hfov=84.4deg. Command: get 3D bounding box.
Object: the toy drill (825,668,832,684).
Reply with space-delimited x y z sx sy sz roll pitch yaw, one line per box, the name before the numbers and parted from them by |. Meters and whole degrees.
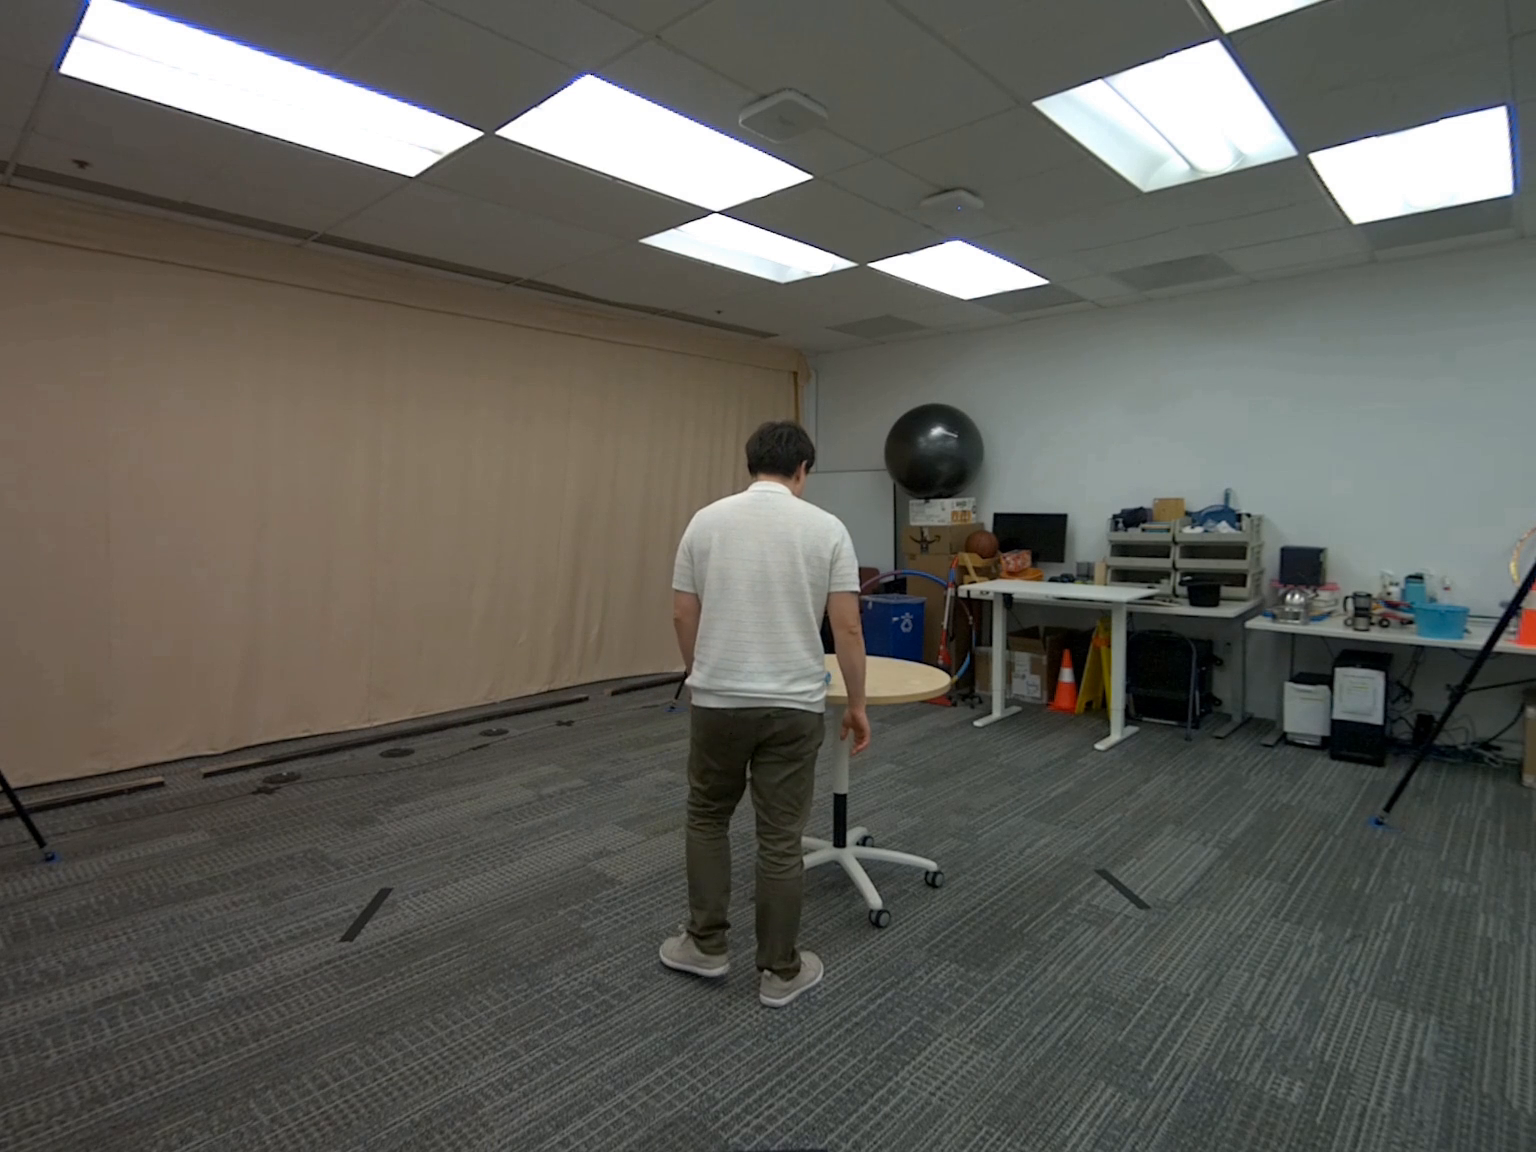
toy drill | 0.144 0.342 2.816 0.150 0.061 0.165 0 -3 26
